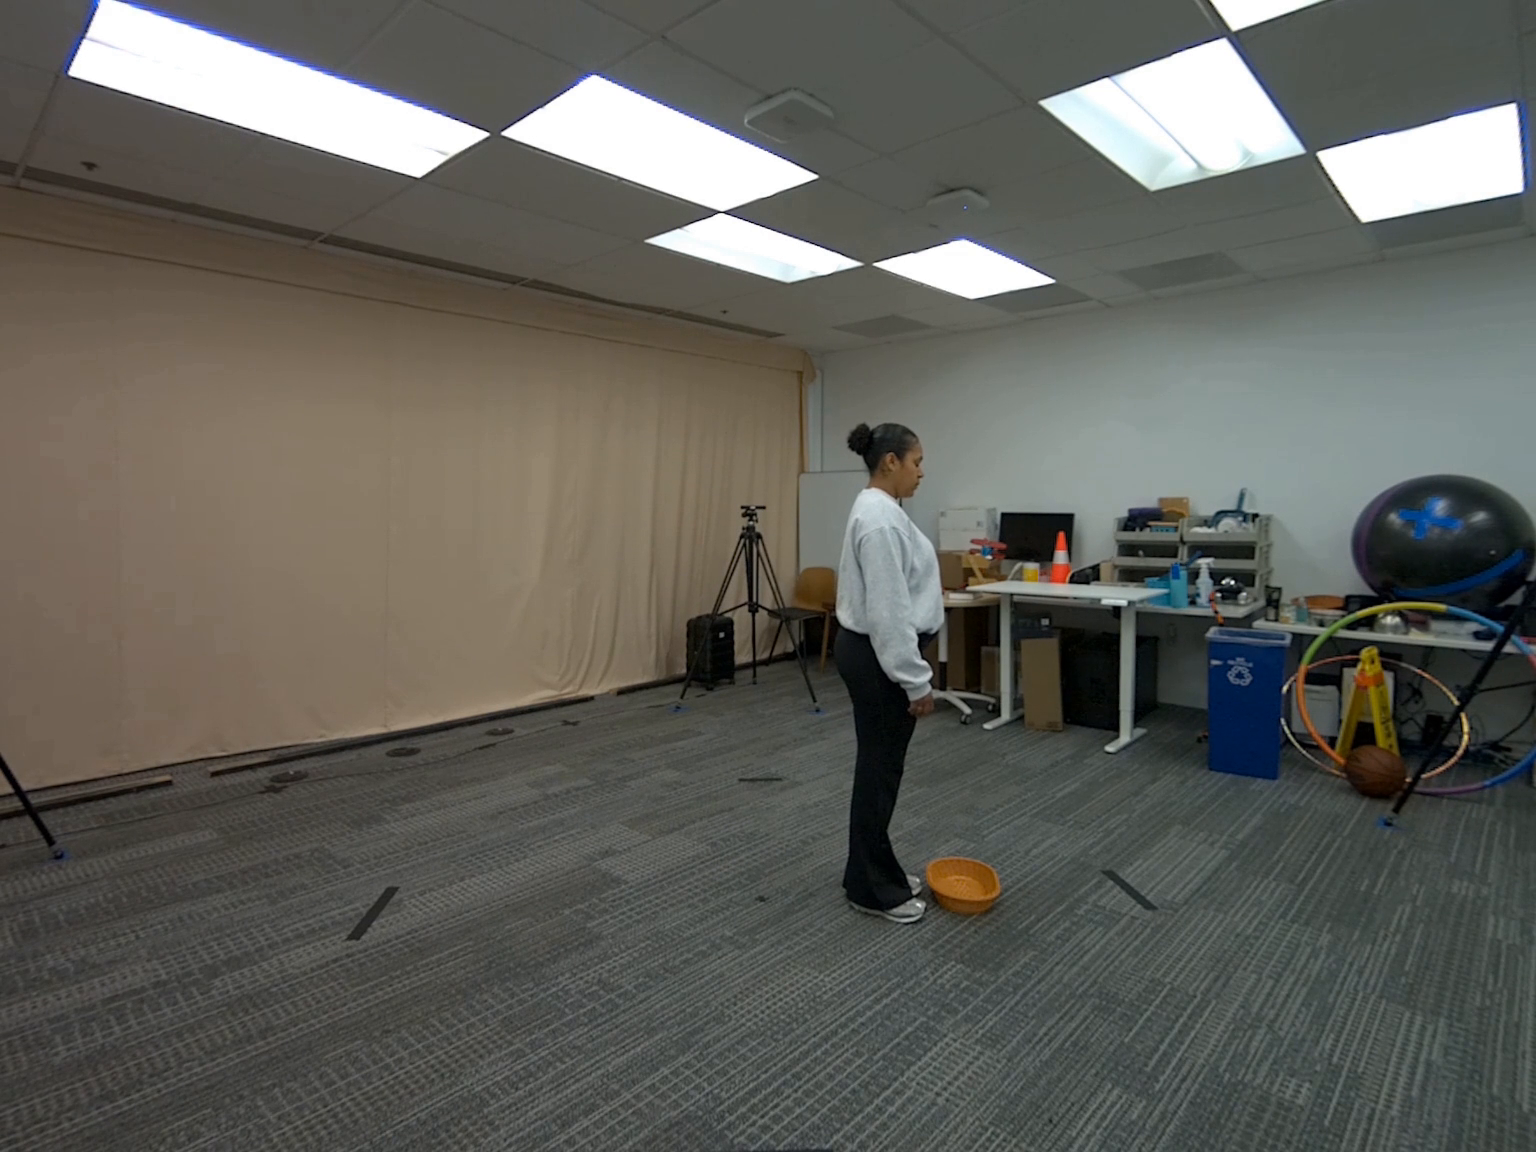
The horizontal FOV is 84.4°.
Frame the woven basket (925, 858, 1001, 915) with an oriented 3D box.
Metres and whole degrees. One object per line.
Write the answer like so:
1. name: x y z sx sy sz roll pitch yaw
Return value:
1. woven basket: 0.693 1.104 2.989 0.256 0.073 0.346 1 5 12
